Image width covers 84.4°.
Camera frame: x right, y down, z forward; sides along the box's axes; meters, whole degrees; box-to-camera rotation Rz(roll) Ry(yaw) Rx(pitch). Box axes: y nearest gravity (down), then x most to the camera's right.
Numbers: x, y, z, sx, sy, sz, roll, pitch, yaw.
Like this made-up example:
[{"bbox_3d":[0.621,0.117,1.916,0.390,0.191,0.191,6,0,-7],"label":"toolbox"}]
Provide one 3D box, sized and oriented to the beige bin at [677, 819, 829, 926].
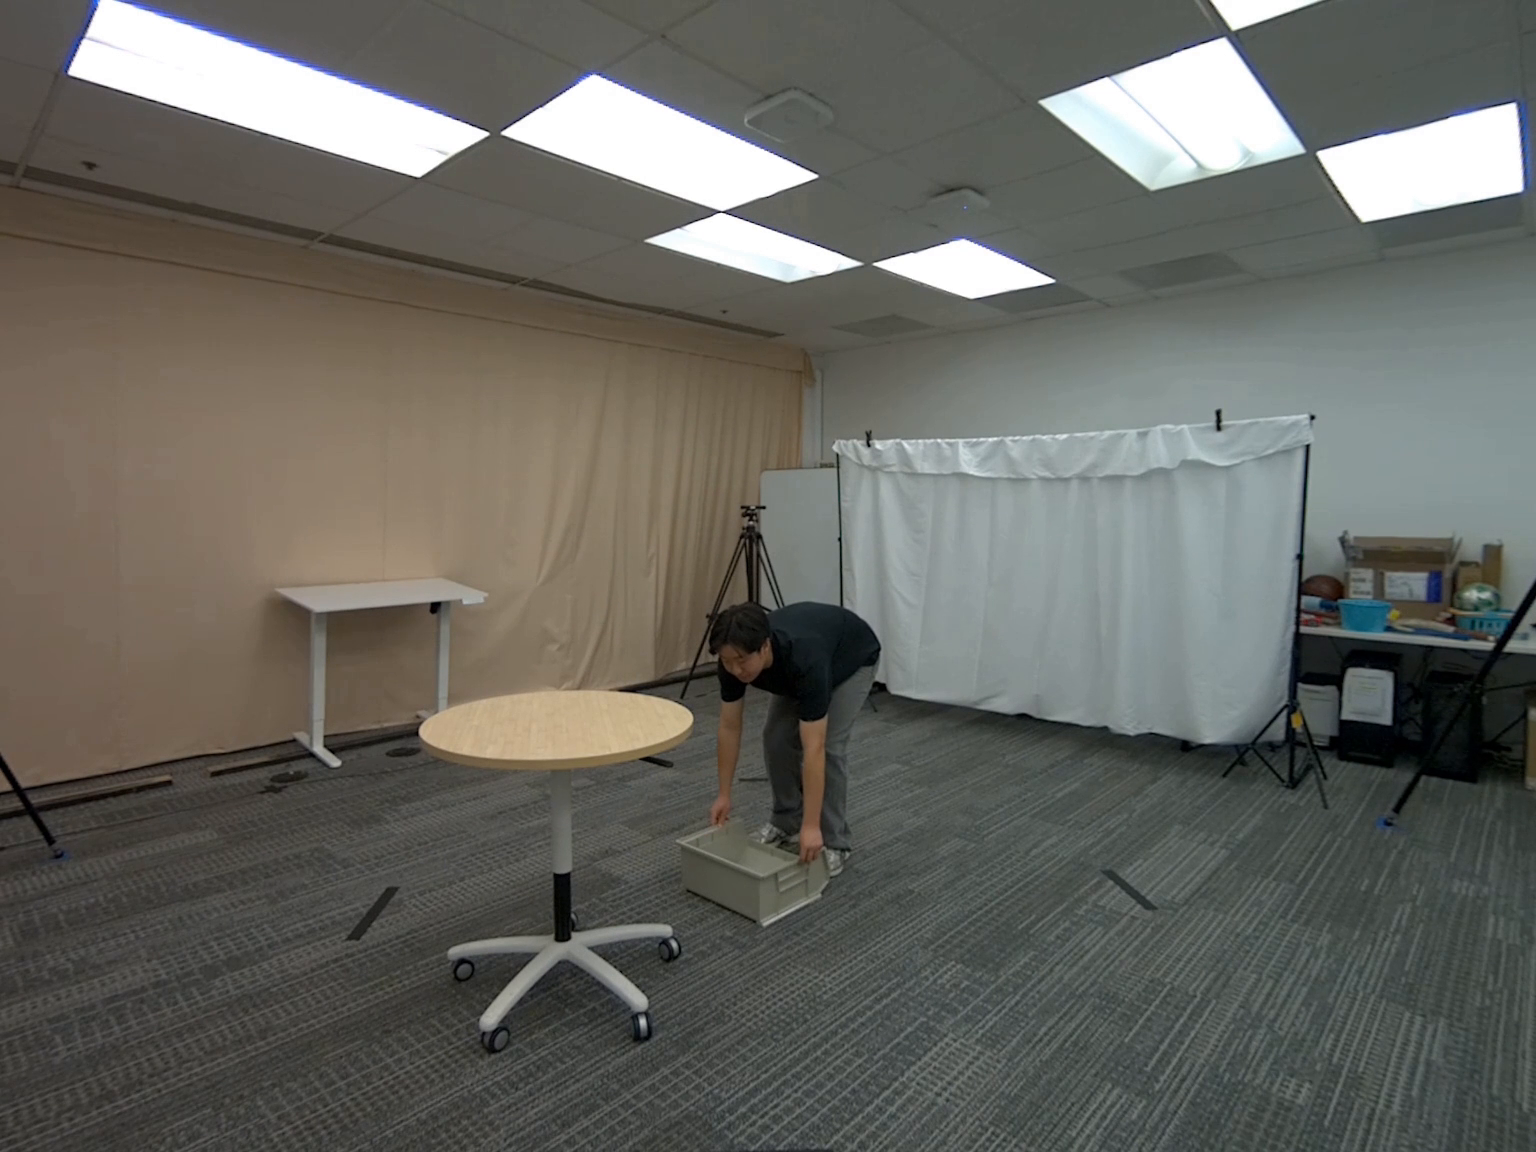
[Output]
[{"bbox_3d":[-0.052,1.046,3.042,0.436,0.188,0.366,5,8,42],"label":"beige bin"}]
